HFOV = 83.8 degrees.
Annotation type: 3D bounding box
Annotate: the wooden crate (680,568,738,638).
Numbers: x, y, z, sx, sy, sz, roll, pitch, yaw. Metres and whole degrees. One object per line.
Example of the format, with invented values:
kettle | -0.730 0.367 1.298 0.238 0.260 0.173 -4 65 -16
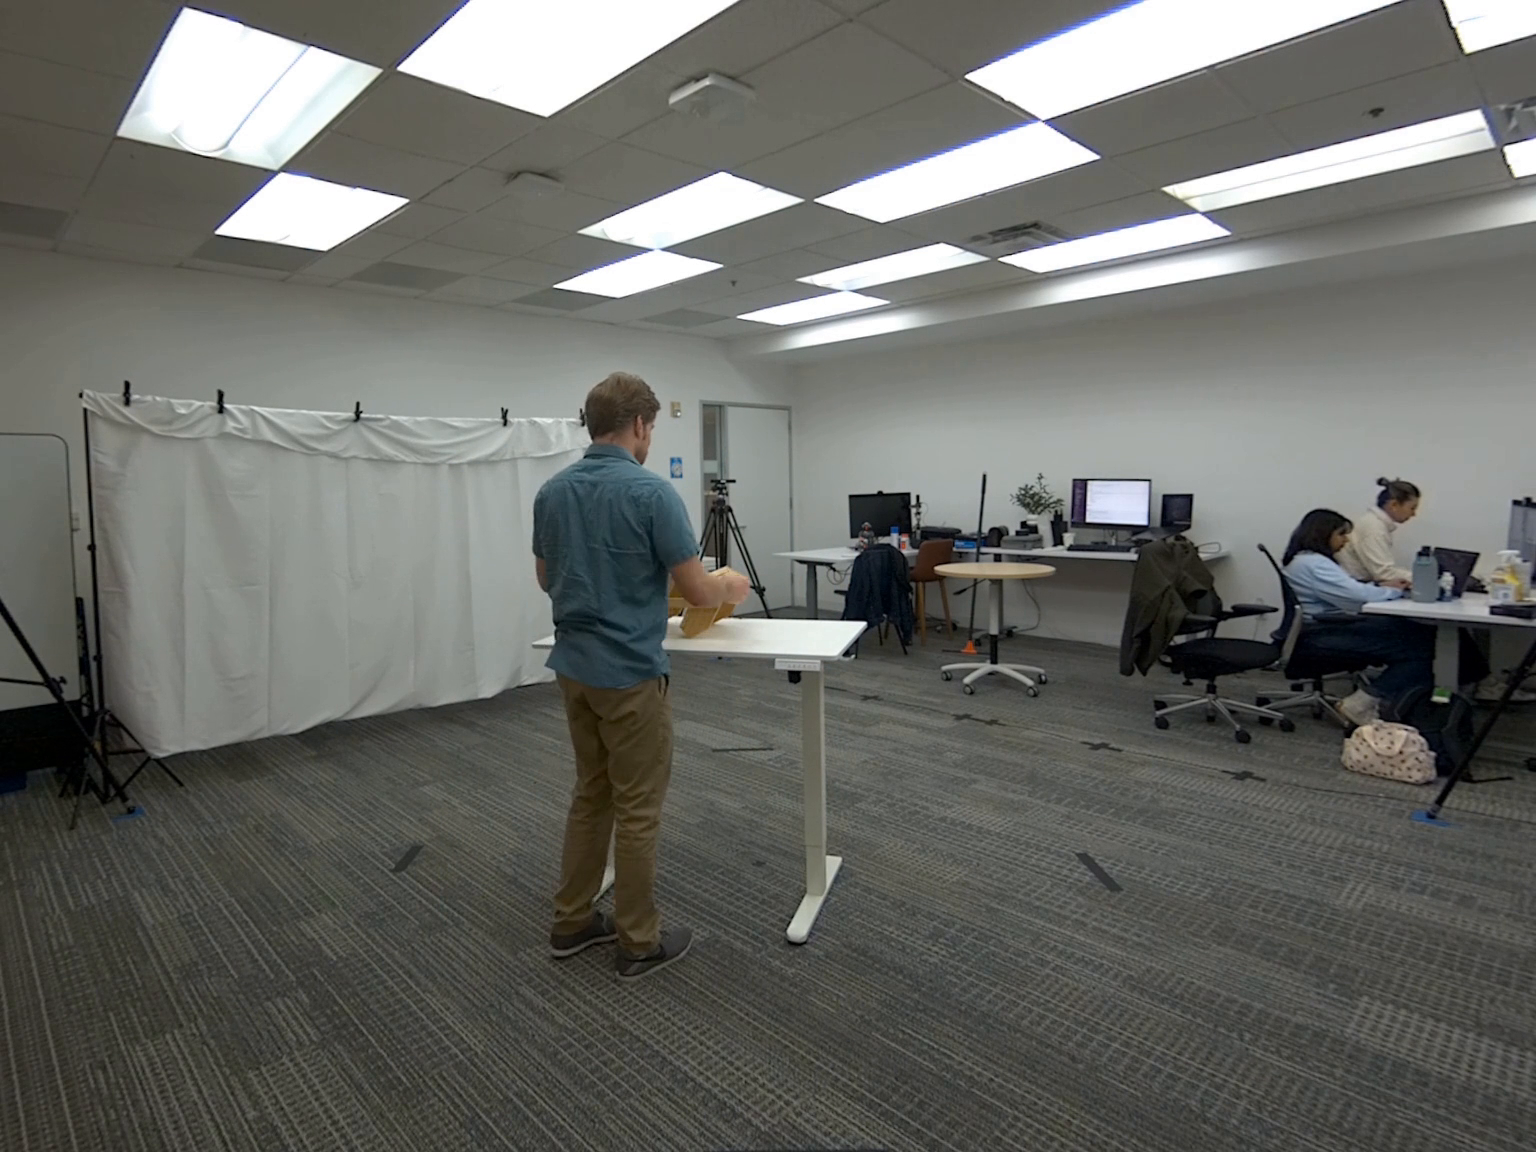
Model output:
wooden crate | -0.267 0.098 2.933 0.277 0.300 0.321 27 11 9
